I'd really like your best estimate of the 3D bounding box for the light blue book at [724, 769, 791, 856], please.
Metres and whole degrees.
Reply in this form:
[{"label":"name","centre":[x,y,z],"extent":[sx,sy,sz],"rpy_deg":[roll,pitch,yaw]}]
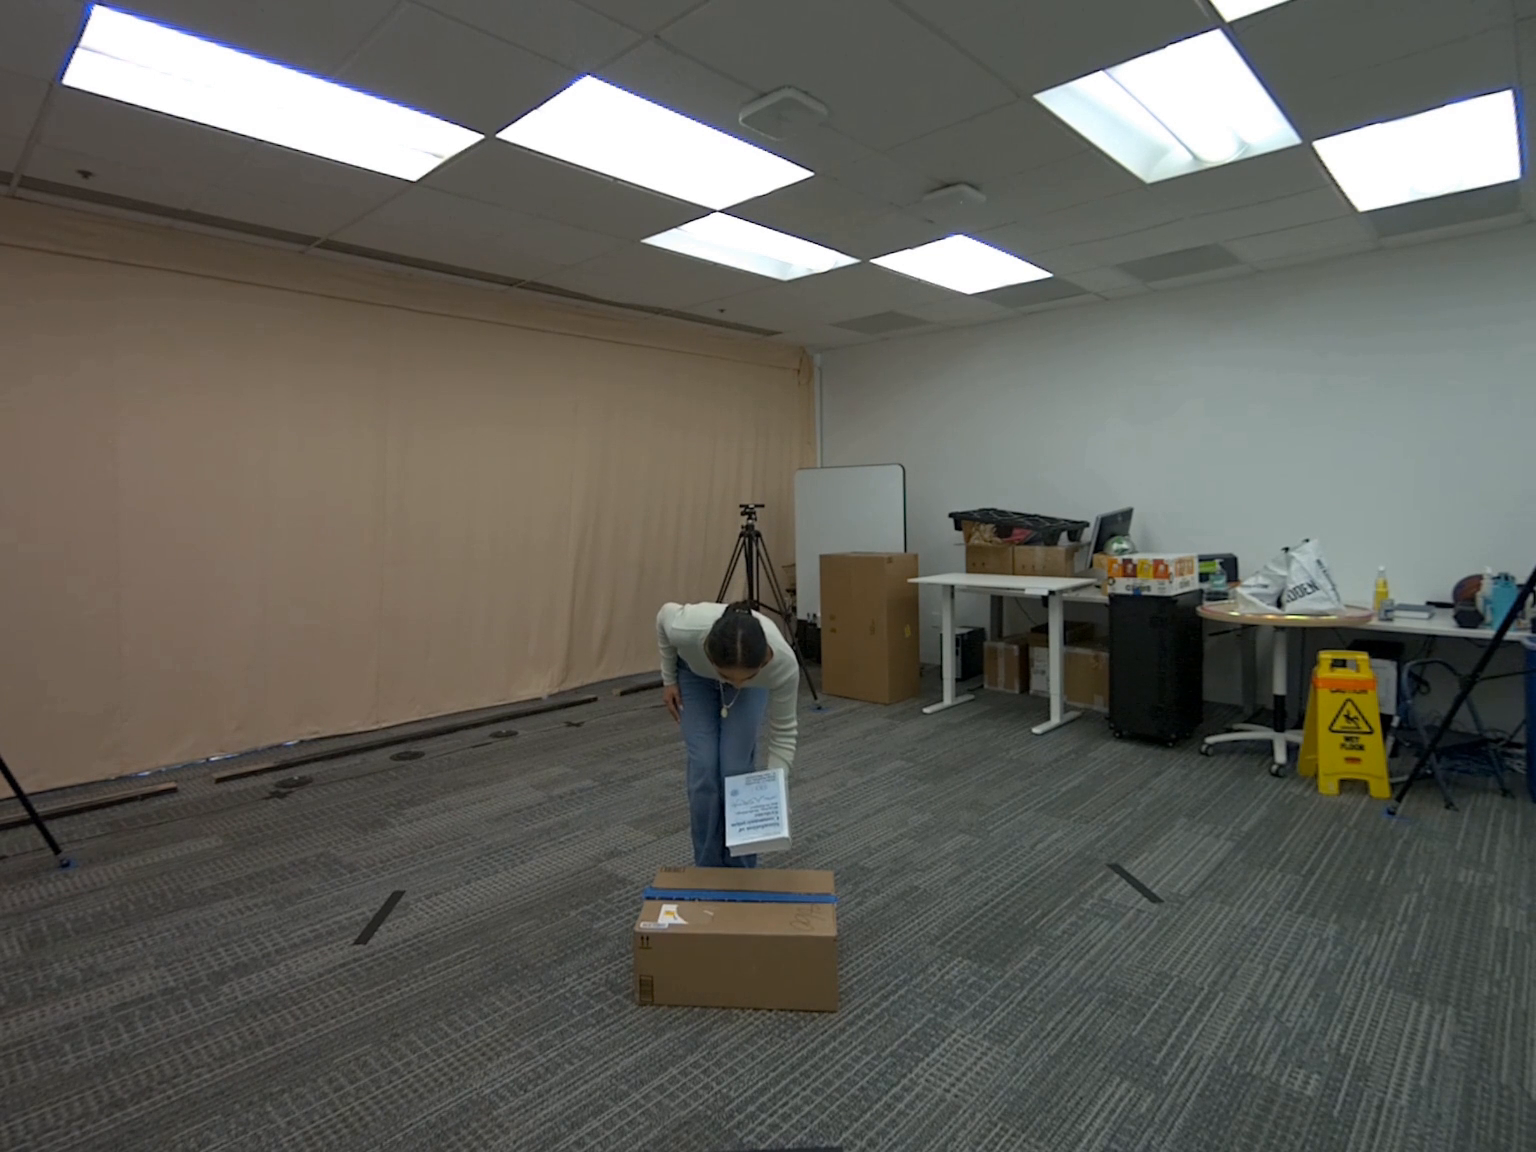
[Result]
[{"label":"light blue book","centre":[-0.019,0.711,2.571],"extent":[0.193,0.057,0.265],"rpy_deg":[-10,33,6]}]
